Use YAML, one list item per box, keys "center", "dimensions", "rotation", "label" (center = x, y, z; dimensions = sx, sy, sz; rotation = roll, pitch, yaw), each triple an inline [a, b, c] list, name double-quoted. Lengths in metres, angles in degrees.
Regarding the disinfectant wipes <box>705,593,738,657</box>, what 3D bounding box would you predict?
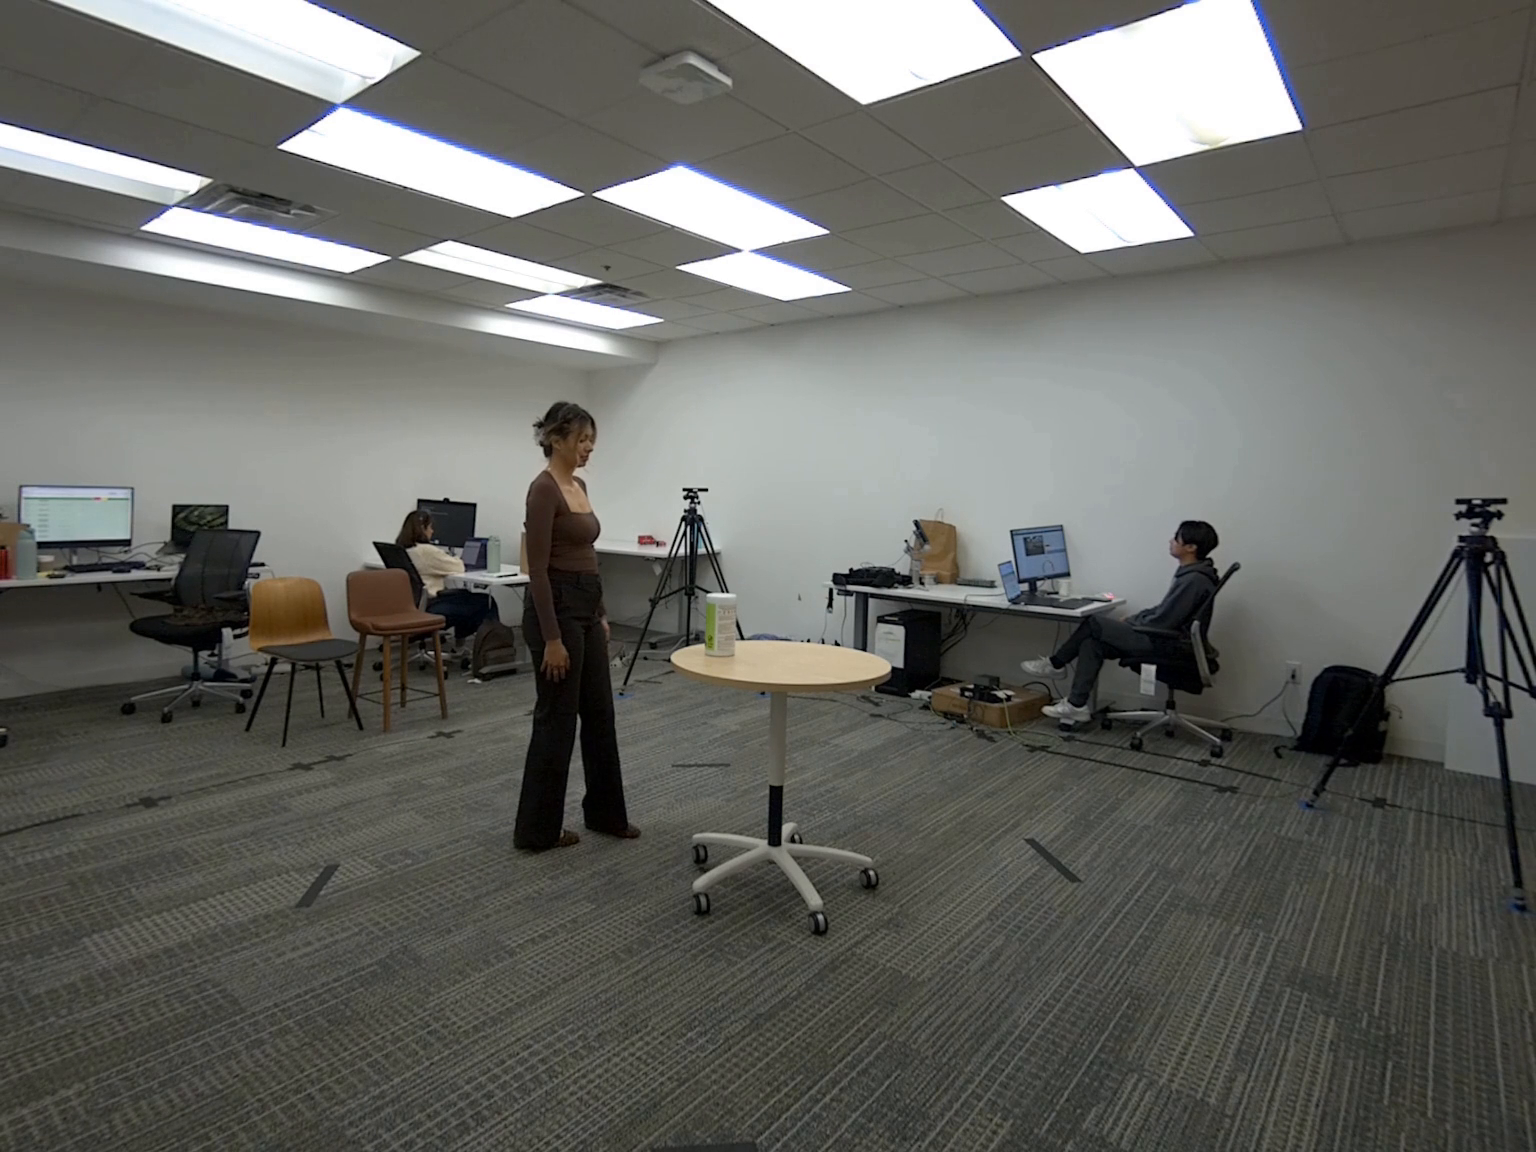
- center: [-0.177, 0.171, 3.029]
  dimensions: [0.118, 0.217, 0.118]
  rotation: [0, 3, -2]
  label: "disinfectant wipes"
